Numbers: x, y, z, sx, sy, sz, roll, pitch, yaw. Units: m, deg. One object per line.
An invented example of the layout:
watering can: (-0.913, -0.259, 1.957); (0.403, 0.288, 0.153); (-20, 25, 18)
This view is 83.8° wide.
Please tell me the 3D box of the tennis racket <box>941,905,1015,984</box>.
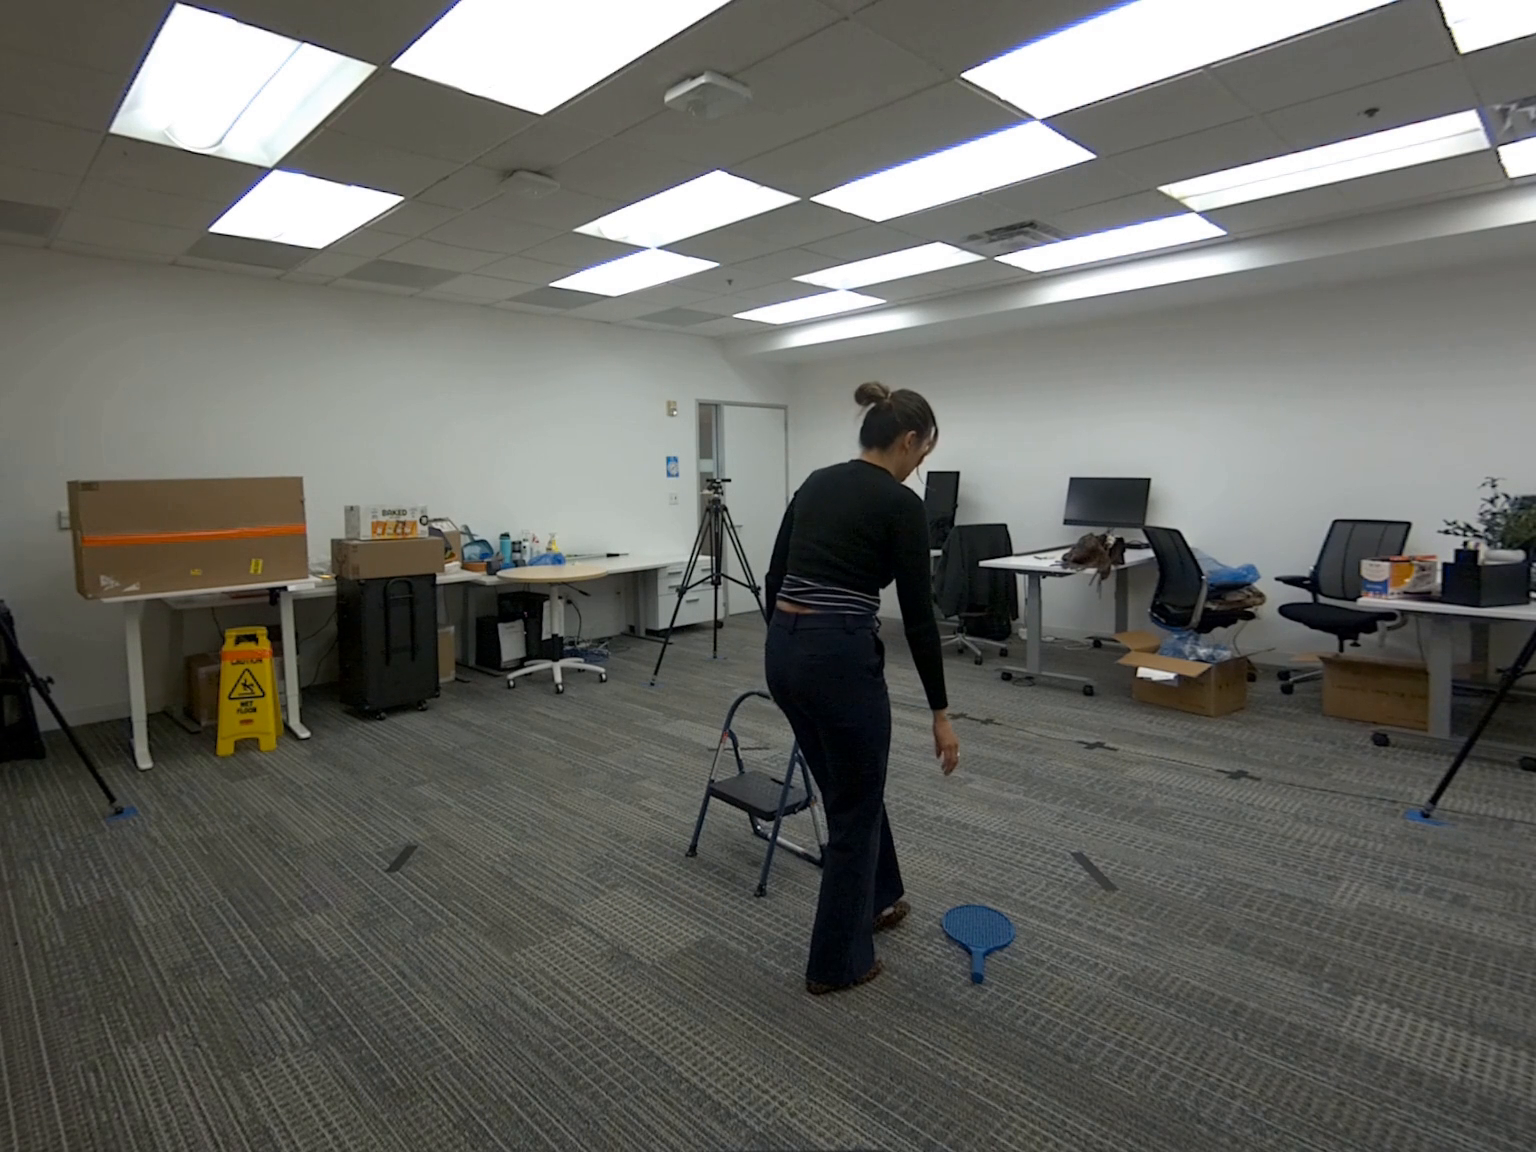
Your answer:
tennis racket: (0.627, 1.081, 2.551); (0.217, 0.031, 0.428); (1, 6, 14)
